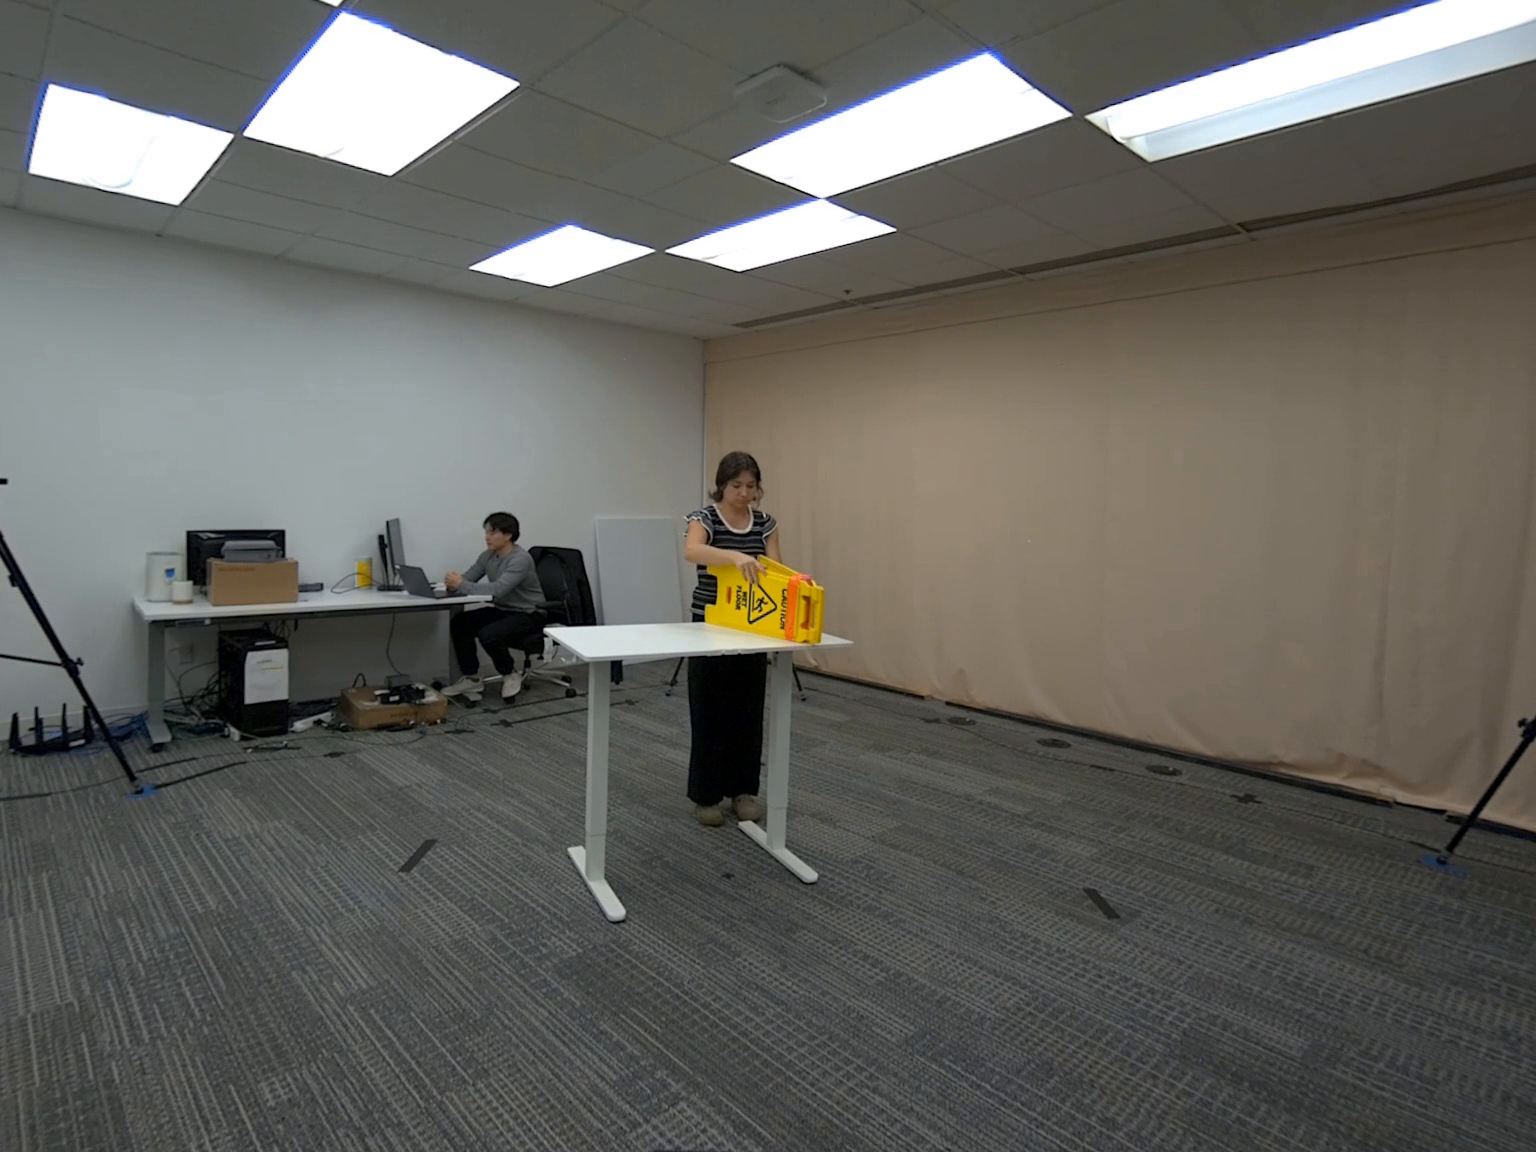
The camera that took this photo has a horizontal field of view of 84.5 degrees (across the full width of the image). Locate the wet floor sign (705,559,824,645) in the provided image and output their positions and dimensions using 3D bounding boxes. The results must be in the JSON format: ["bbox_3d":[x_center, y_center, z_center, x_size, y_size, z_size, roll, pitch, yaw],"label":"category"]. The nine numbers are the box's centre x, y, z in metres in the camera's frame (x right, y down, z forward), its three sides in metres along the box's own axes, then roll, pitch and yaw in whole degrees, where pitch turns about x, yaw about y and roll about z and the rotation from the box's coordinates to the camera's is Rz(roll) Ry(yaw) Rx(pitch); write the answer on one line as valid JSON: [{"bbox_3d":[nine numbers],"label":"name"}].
[{"bbox_3d":[0.018,0.100,3.199,0.283,0.281,0.662,1,7,-31],"label":"wet floor sign"}]
